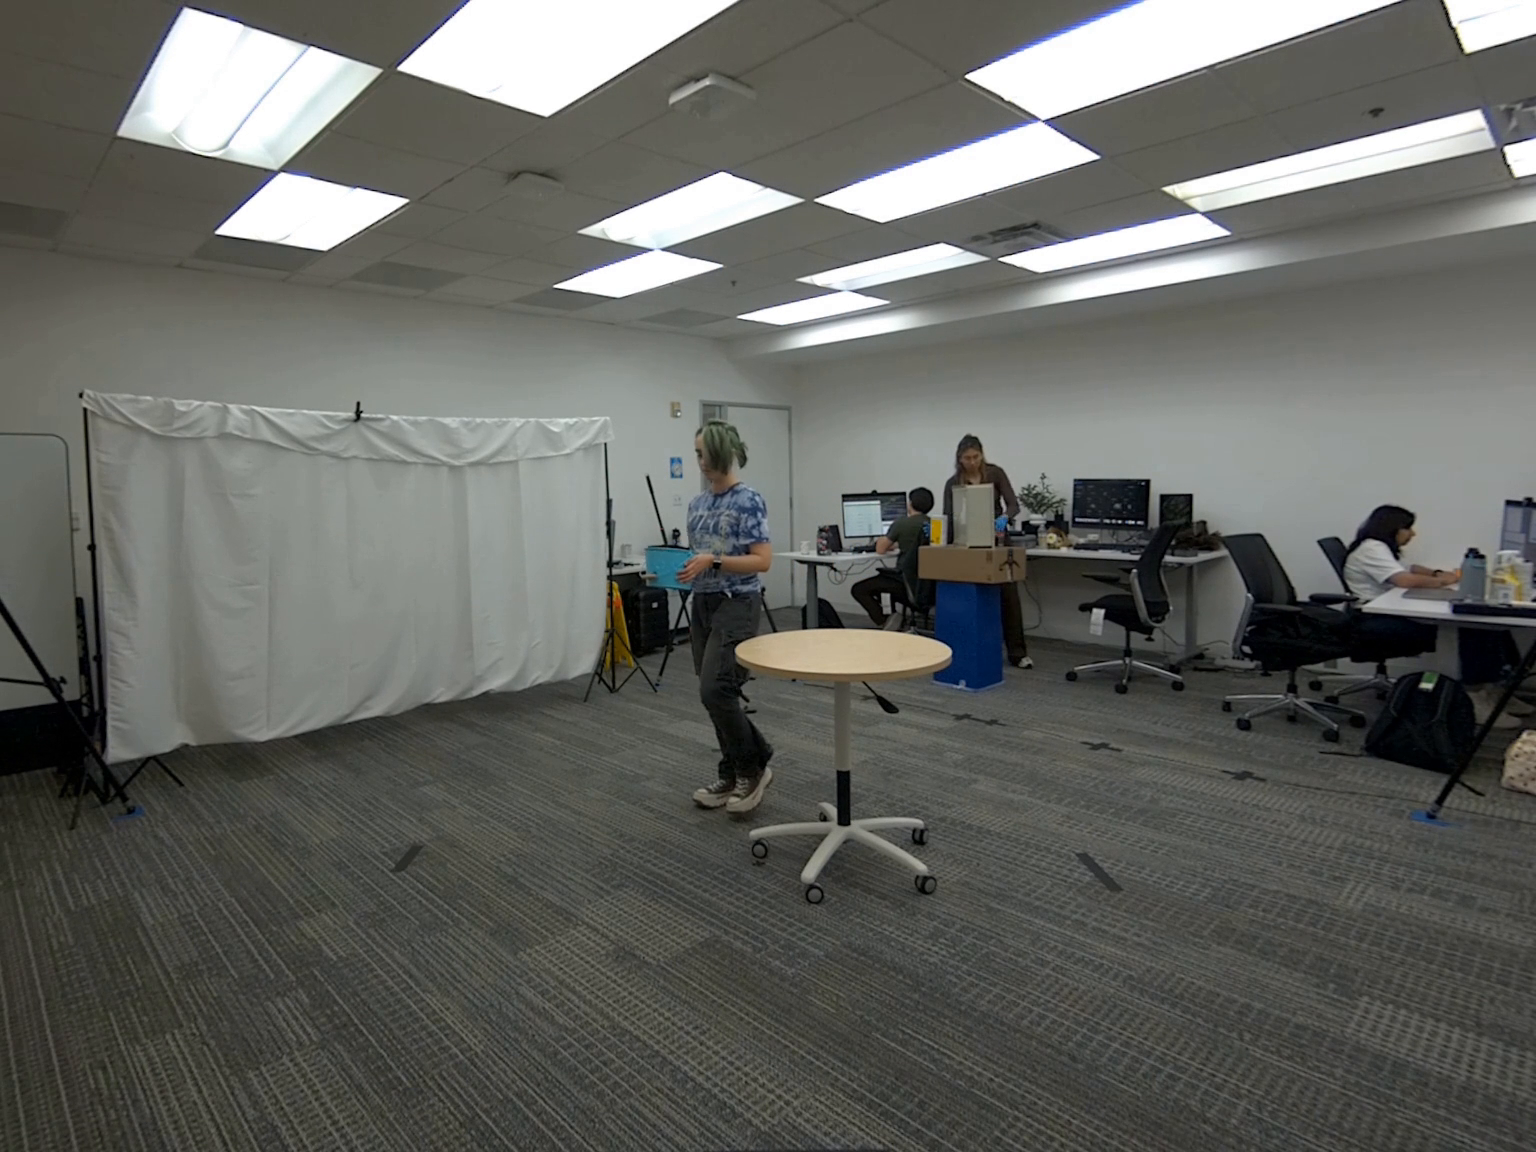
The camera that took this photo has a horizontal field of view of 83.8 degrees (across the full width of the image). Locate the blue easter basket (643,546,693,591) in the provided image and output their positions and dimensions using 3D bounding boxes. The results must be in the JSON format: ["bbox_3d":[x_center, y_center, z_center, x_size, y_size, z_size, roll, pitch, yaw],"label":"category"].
[{"bbox_3d":[-0.418,-0.023,3.526,0.243,0.156,0.243,6,-4,-1],"label":"blue easter basket"}]
